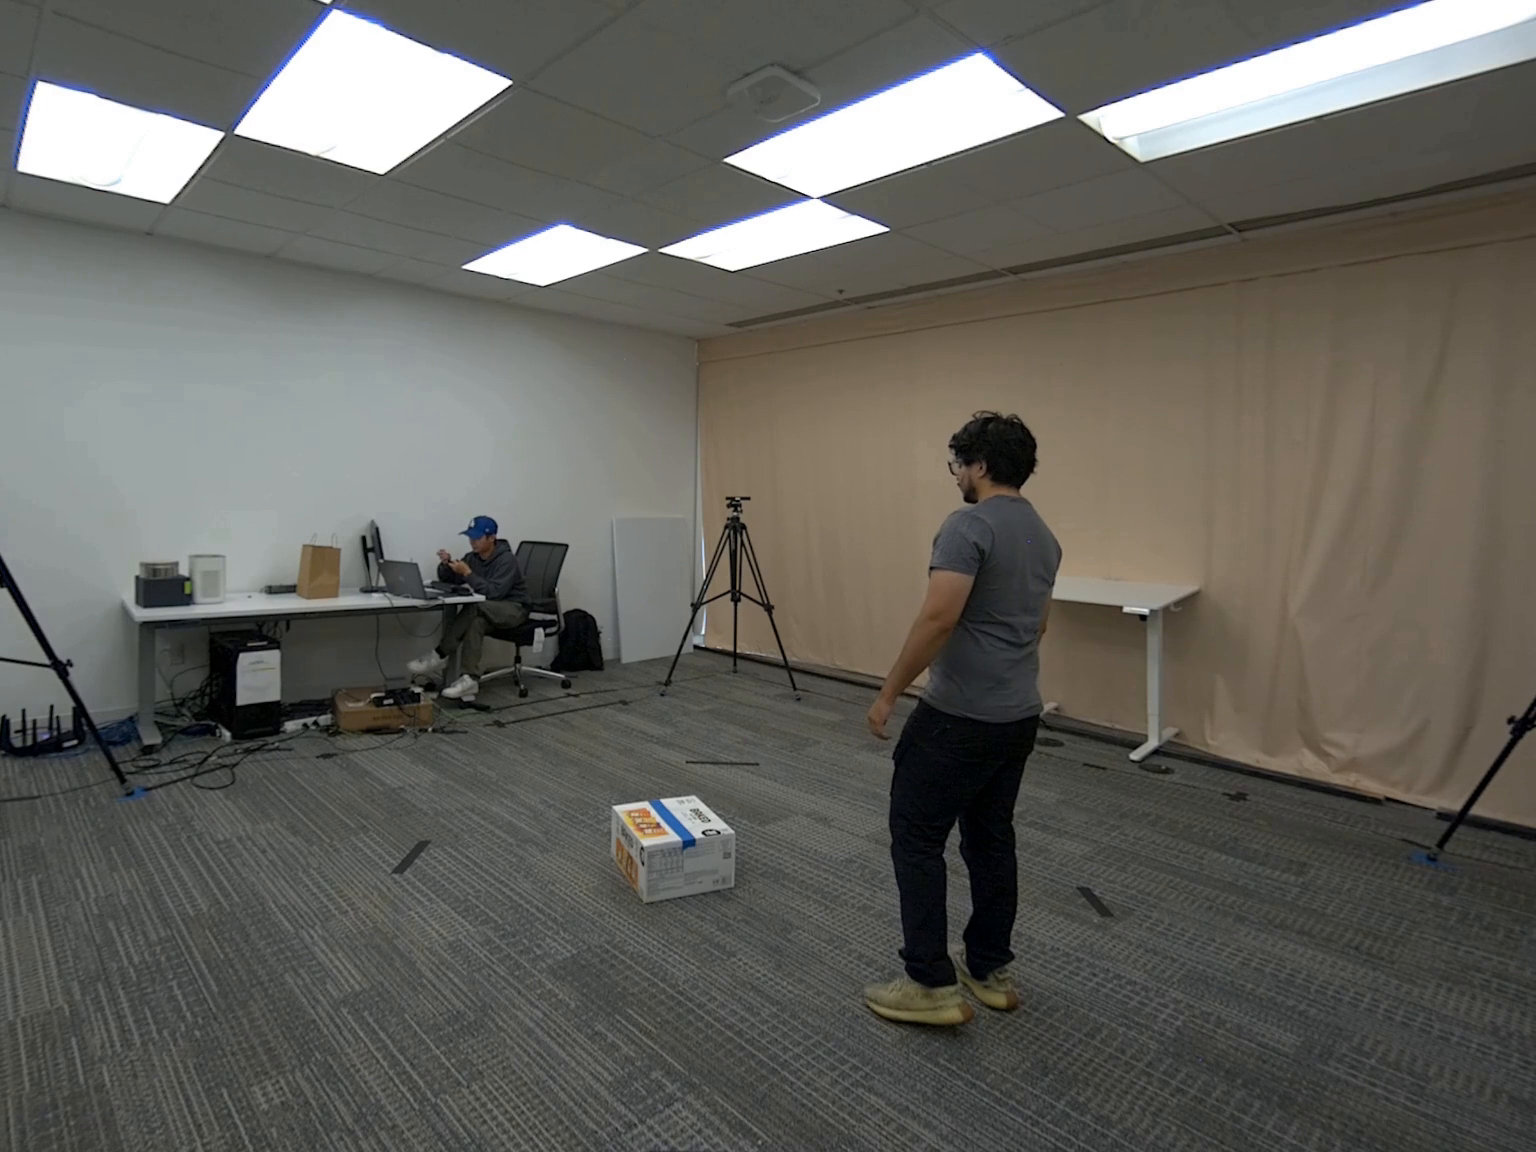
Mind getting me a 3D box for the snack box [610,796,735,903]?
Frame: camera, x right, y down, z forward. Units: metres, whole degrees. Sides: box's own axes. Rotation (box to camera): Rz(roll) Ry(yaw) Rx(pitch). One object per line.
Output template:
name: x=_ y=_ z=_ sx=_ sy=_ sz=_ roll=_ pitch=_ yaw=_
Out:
snack box: x=-0.369 y=1.002 z=3.112 sx=0.334 sy=0.205 sz=0.413 roll=-1 pitch=5 yaw=-25
